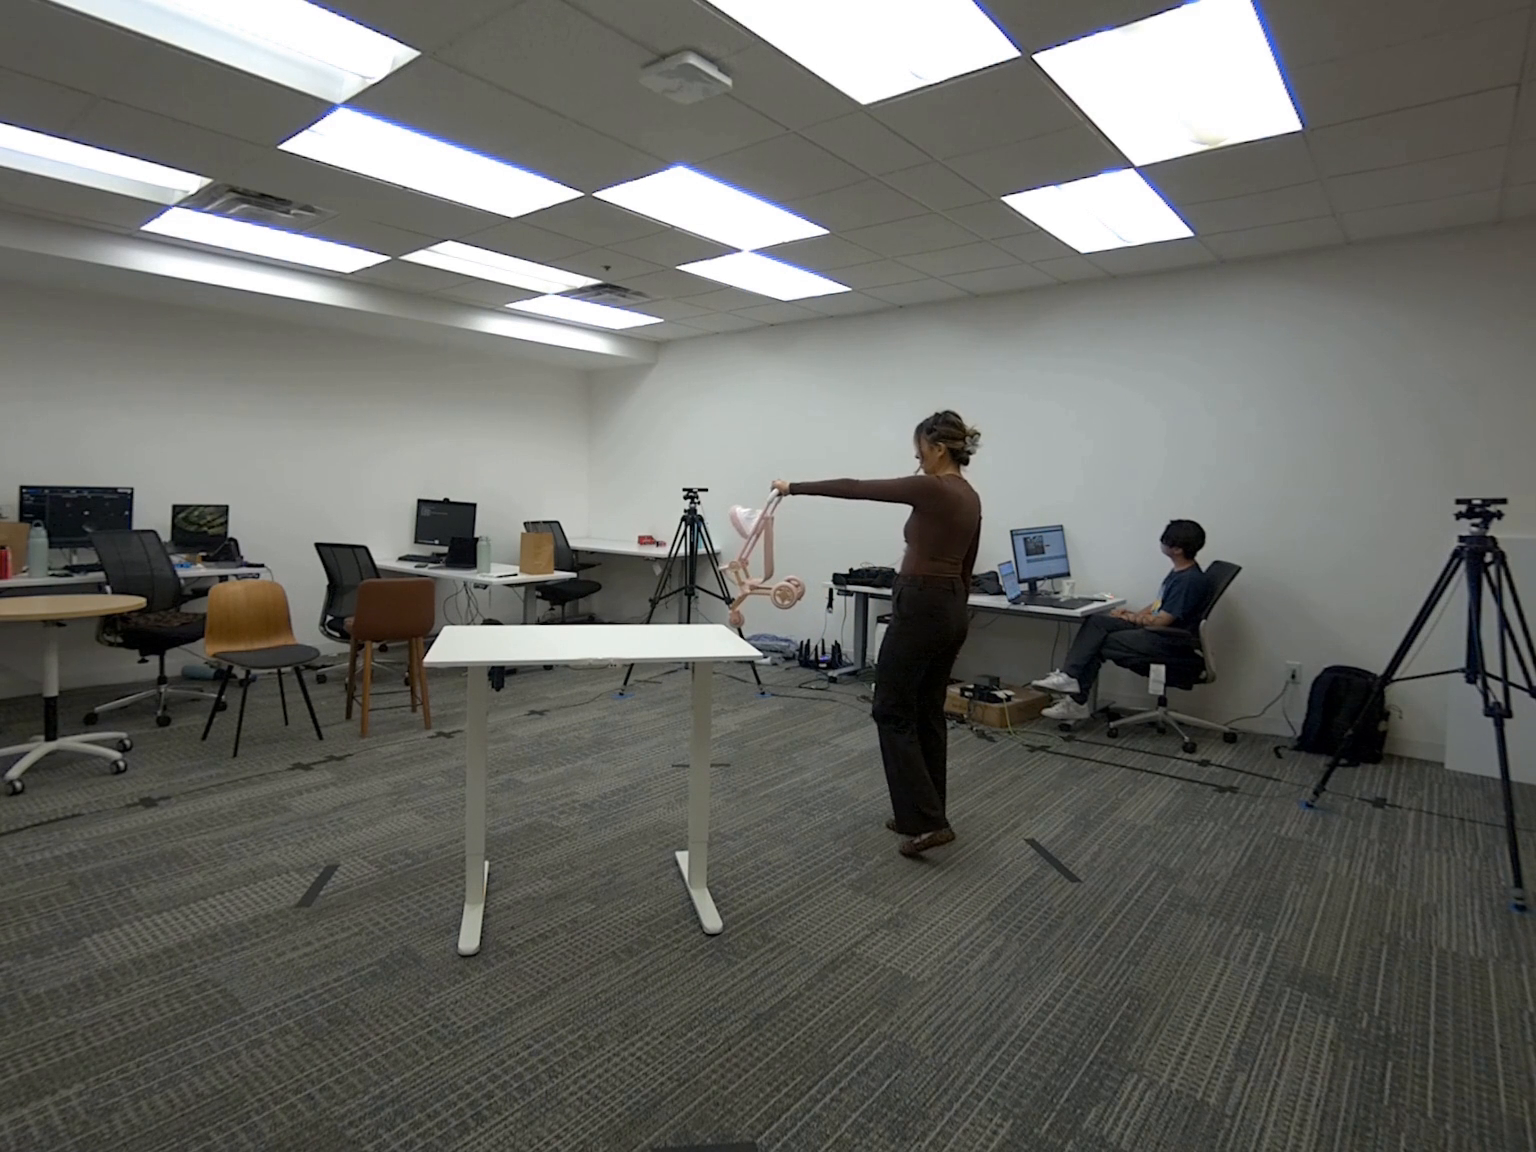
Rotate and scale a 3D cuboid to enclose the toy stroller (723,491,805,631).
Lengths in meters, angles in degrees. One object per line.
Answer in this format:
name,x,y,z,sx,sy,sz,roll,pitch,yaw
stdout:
toy stroller,-0.065,-0.070,3.535,0.346,0.534,0.278,-11,2,16
